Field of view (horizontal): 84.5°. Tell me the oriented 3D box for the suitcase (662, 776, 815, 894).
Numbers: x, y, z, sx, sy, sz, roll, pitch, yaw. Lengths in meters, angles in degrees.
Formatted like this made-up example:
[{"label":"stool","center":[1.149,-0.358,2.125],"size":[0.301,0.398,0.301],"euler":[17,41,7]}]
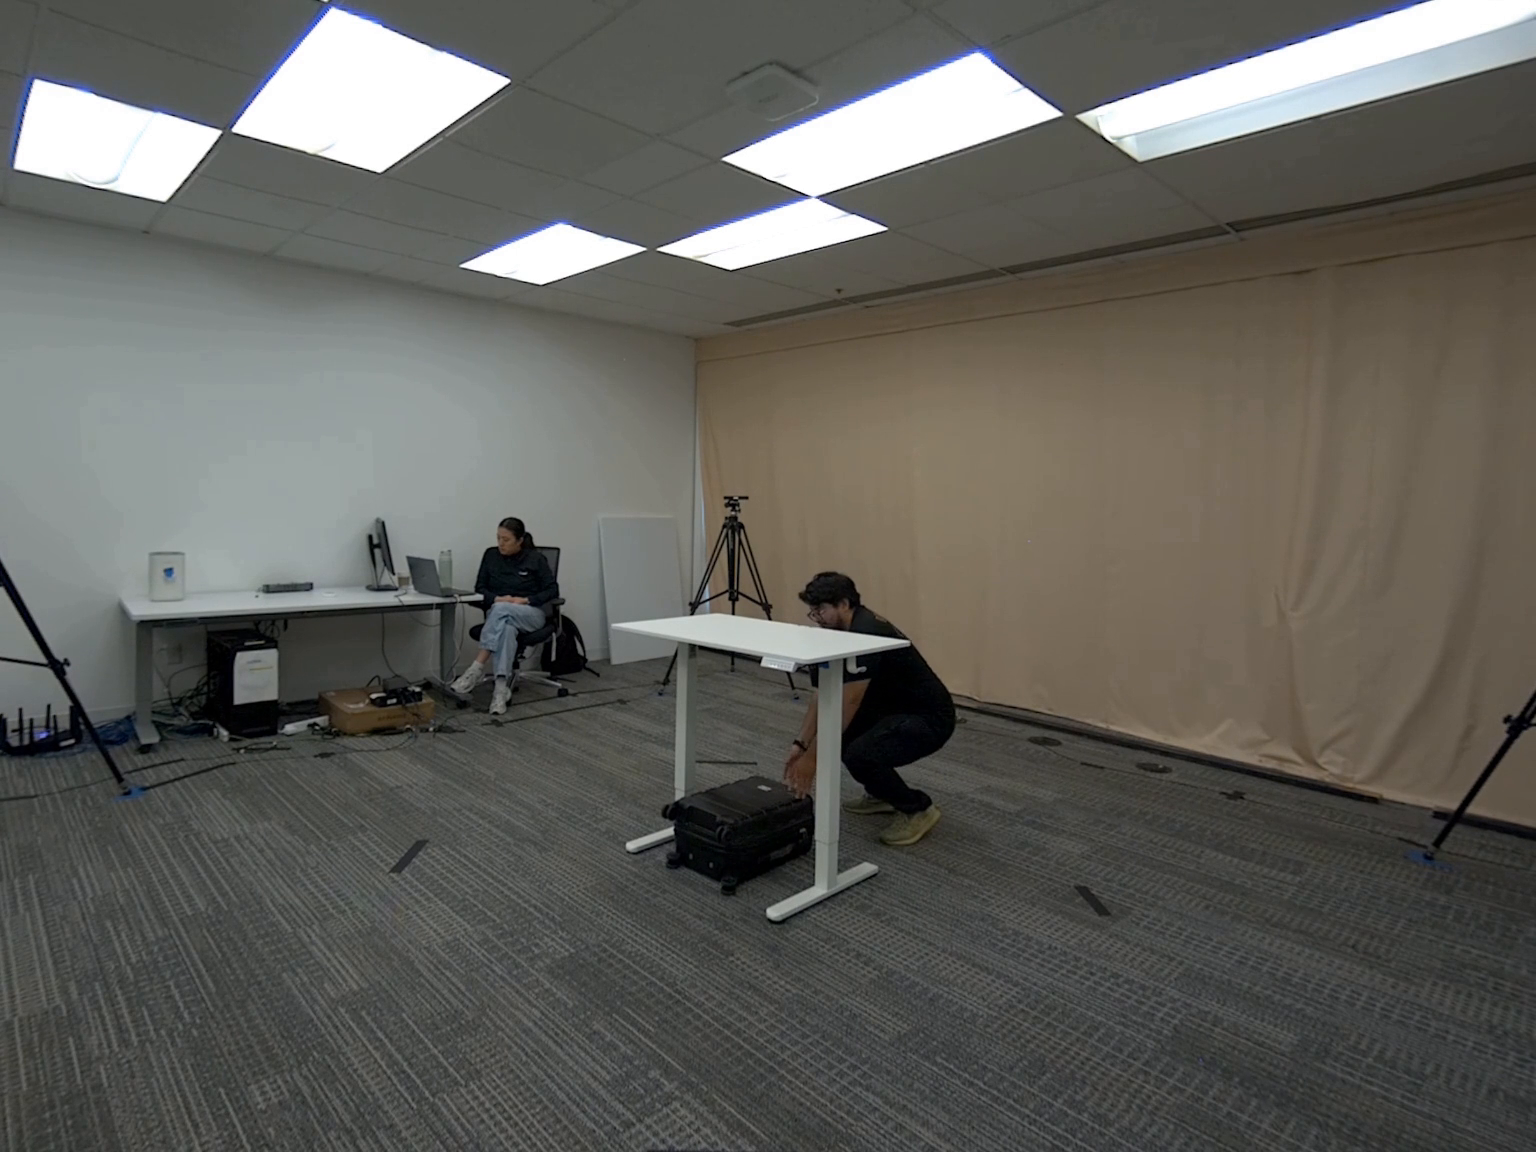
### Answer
[{"label":"suitcase","center":[-0.096,0.975,3.244],"size":[0.385,0.247,0.537],"euler":[4,6,42]}]
